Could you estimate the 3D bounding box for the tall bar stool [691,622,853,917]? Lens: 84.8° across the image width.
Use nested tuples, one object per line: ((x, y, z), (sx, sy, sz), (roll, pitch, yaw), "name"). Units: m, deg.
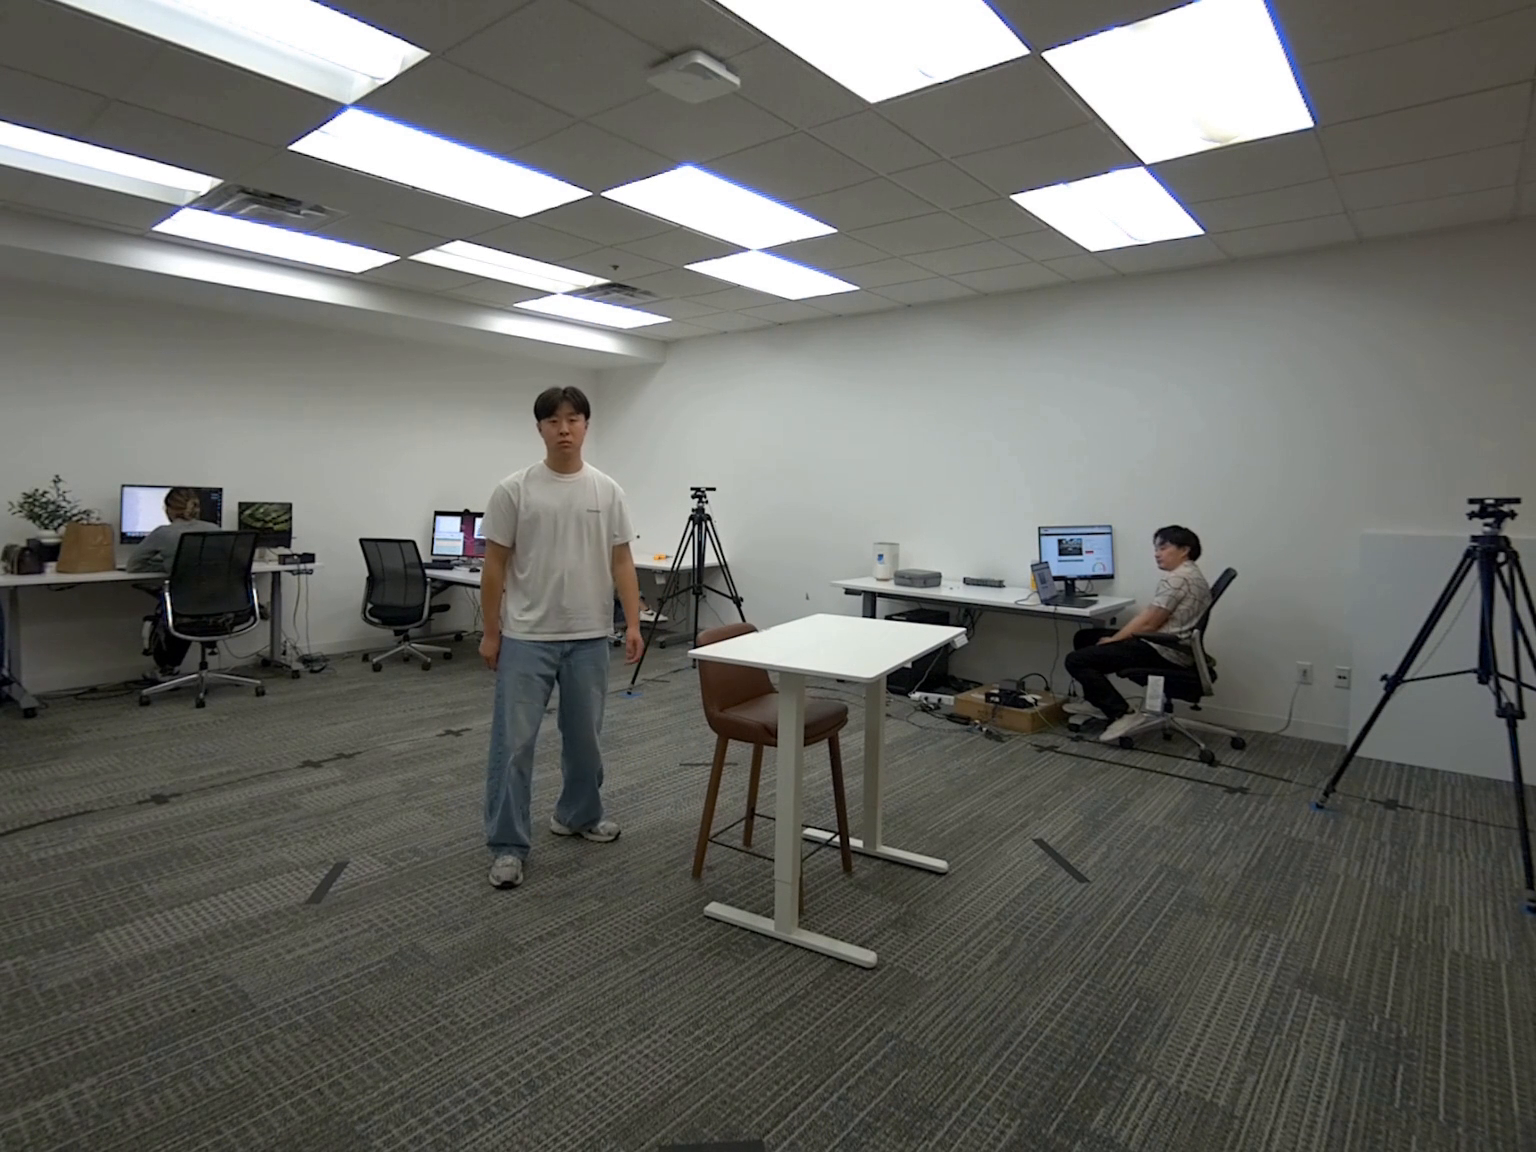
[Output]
((0.002, 0.642, 3.041), (0.481, 0.889, 0.444), (-1, 1, 33), "tall bar stool")
